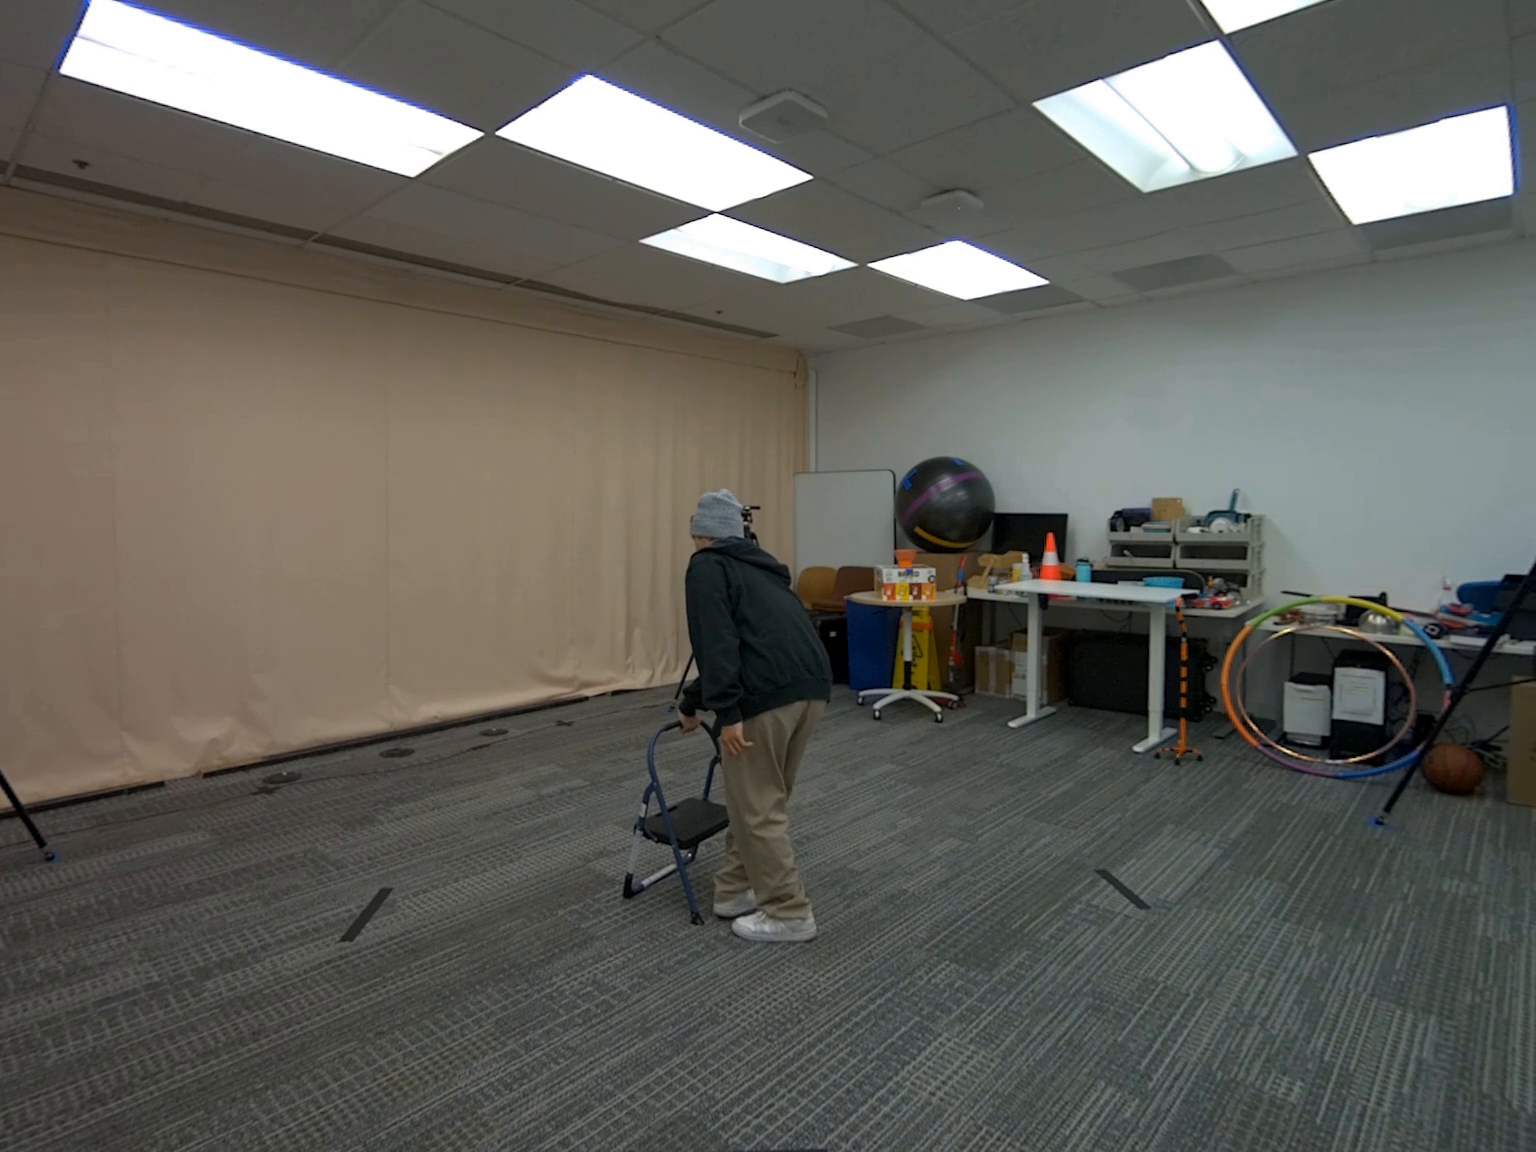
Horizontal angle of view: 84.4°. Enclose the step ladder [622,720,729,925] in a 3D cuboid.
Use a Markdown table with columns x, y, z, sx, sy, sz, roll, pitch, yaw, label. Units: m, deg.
| x | y | z | sx | sy | sz | roll | pitch | yaw | label |
| --- | --- | --- | --- | --- | --- | --- | --- | --- | --- |
| -0.270 | 0.838 | 3.054 | 0.360 | 0.605 | 0.419 | 2 | 4 | 33 | step ladder |
